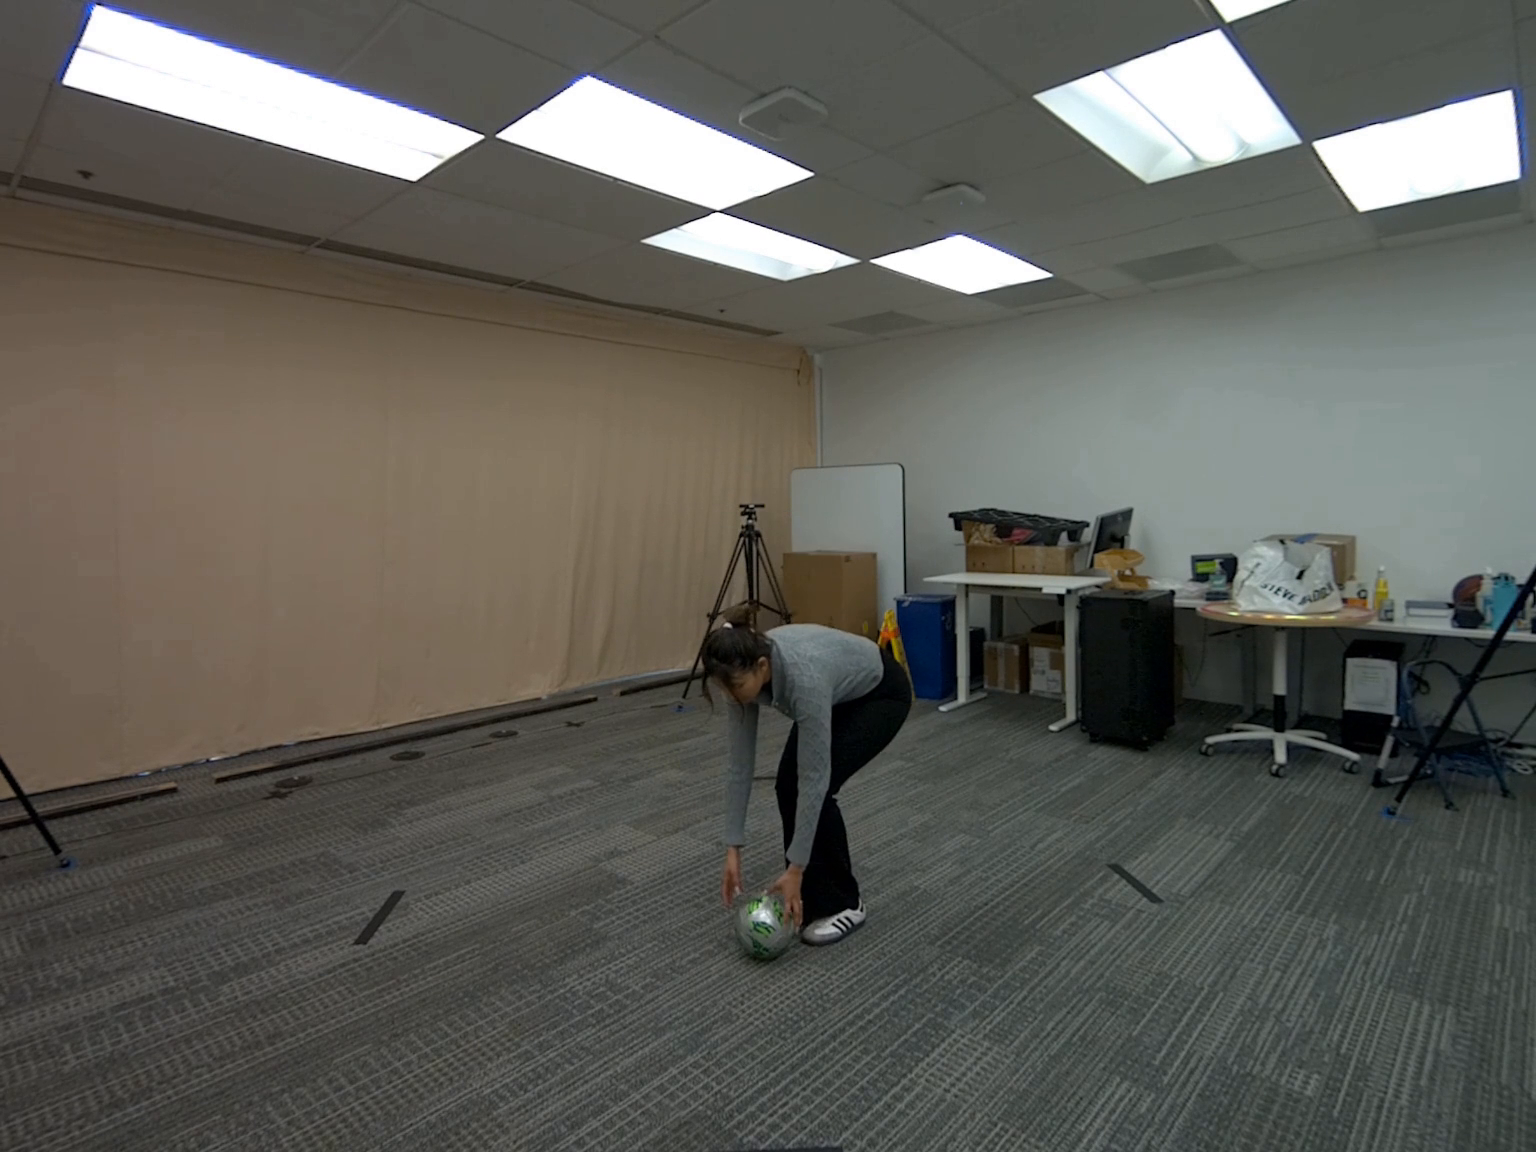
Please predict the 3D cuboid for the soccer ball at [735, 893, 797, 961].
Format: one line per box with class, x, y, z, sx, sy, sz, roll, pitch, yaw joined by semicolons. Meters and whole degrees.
soccer ball;-0.009;1.083;2.599;0.187;0.187;0.188;-1;4;-2
